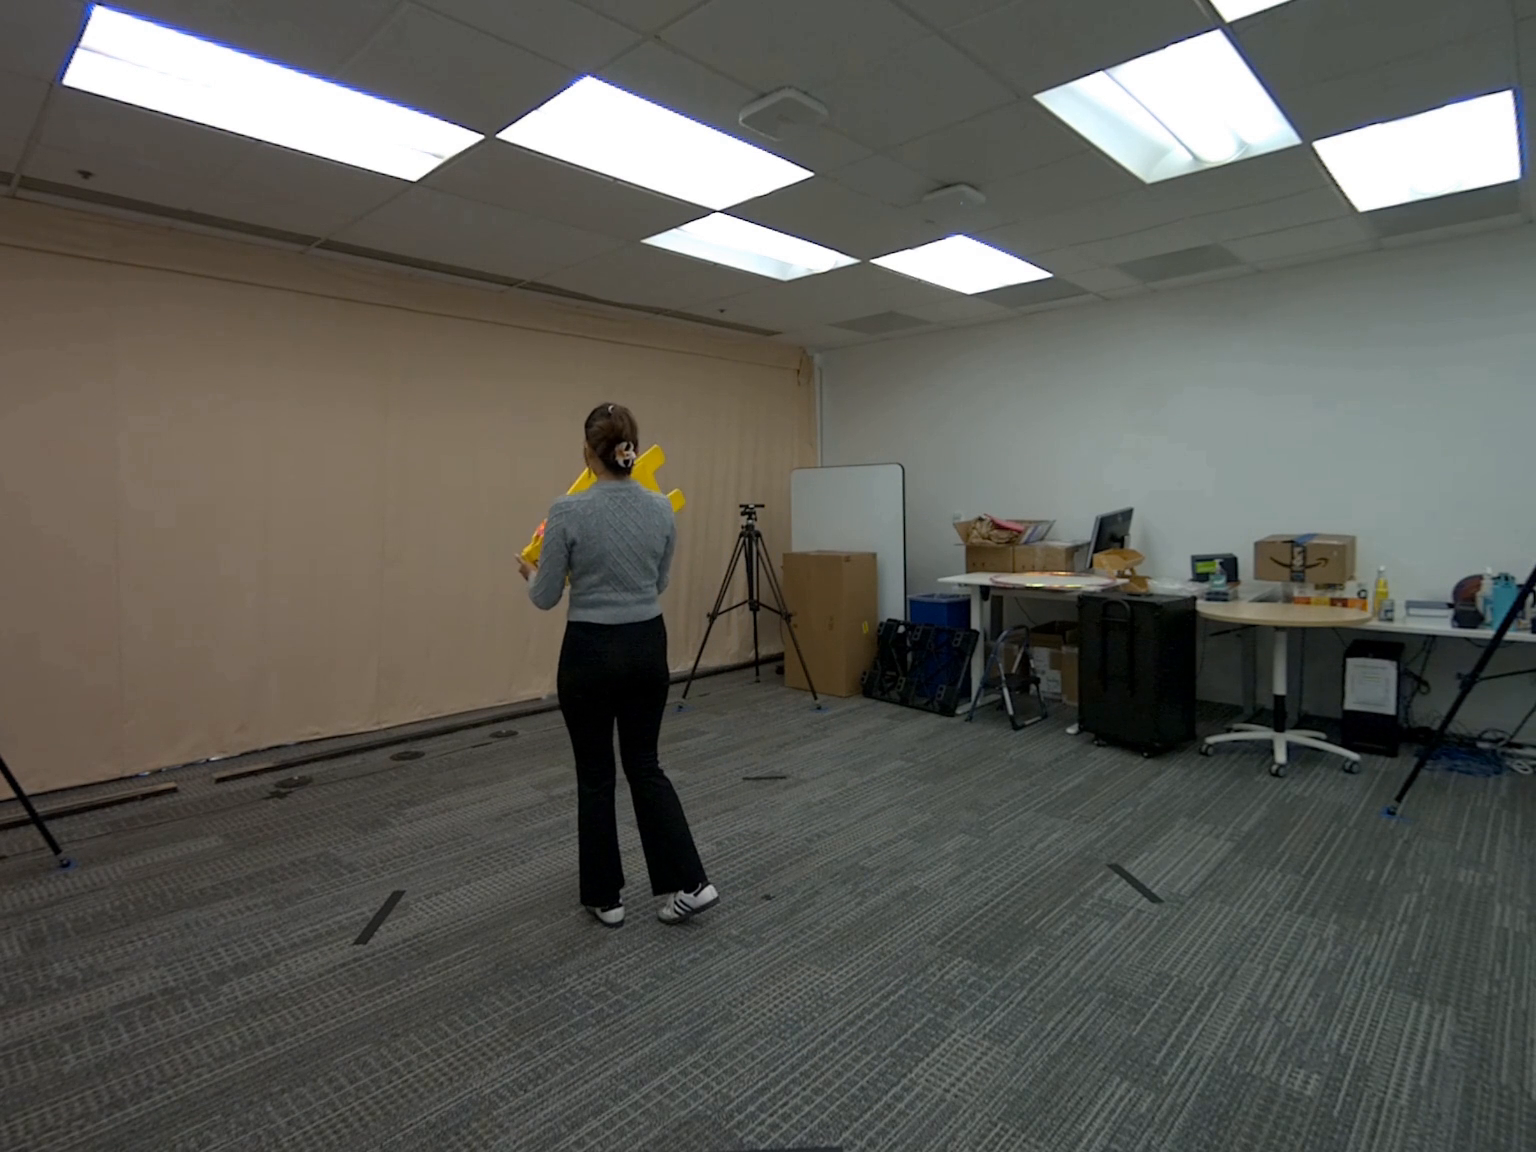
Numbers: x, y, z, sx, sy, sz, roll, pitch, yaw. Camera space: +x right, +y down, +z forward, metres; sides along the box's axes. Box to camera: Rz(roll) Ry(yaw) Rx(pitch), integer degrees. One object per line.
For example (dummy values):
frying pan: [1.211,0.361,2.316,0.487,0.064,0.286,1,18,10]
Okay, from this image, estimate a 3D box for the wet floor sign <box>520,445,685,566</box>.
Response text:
wet floor sign: [-0.654,-0.200,3.154,0.300,0.274,0.641,8,45,41]
